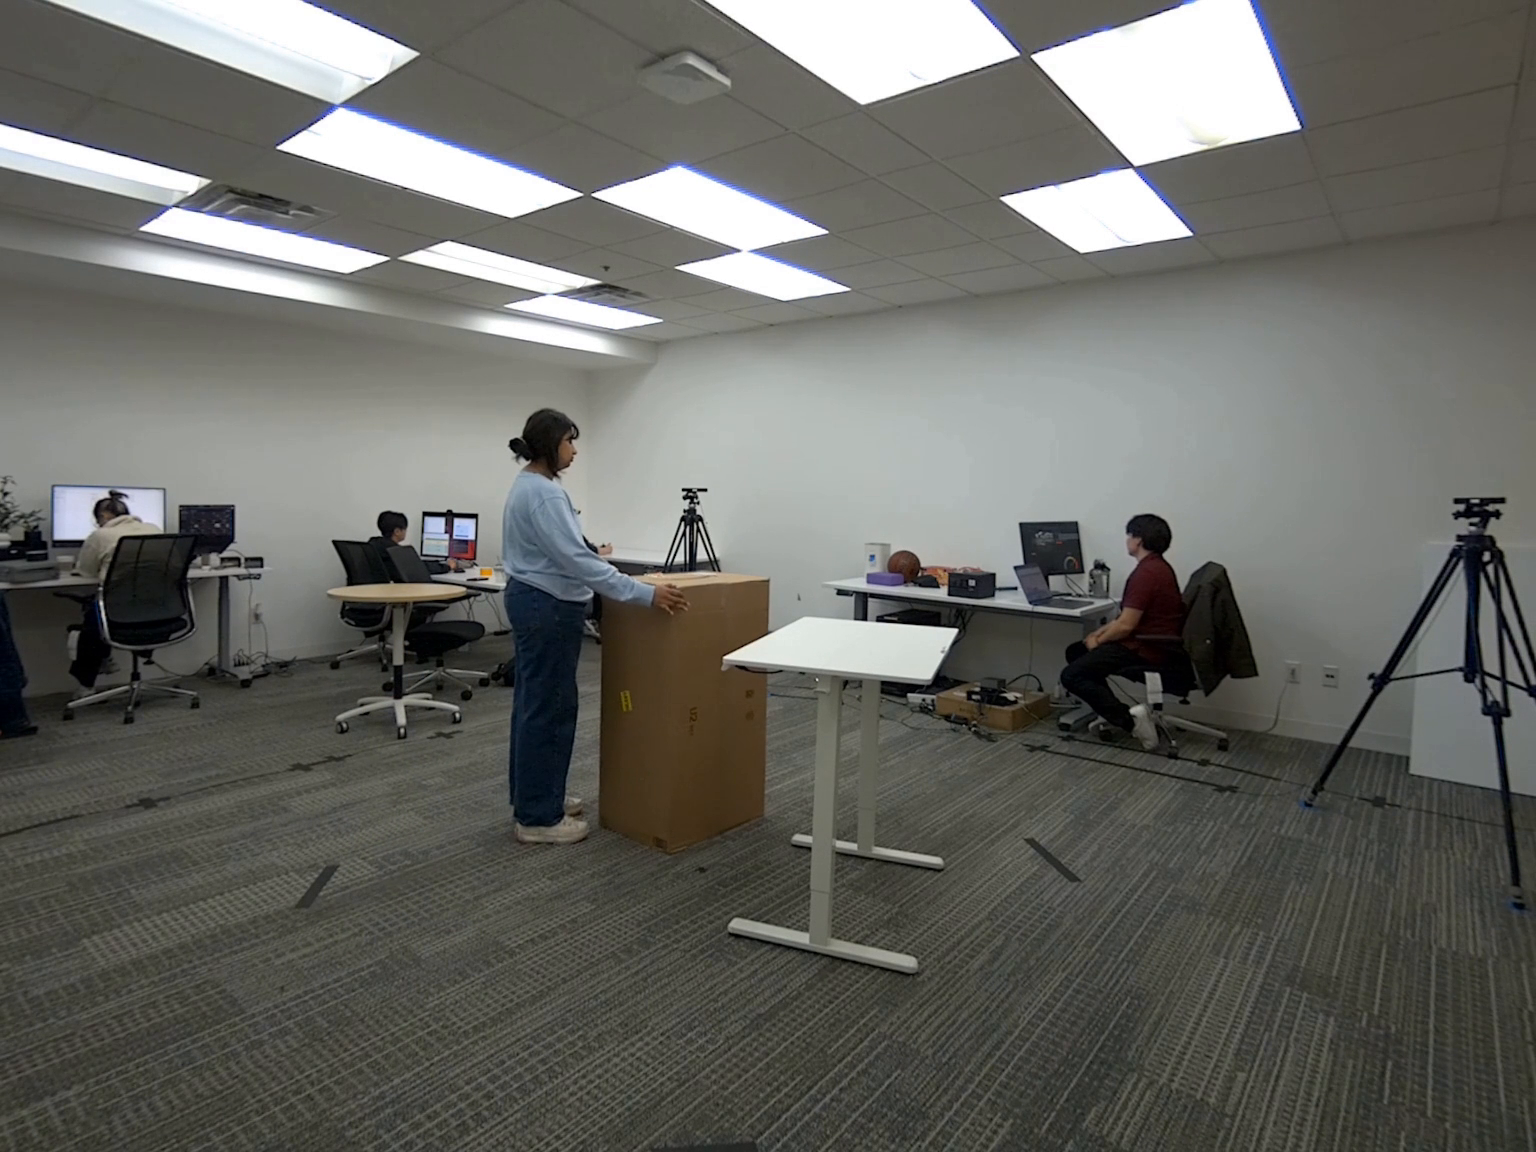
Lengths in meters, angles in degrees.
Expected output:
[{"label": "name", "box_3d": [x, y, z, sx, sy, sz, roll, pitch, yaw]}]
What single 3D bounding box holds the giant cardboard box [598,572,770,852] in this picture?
[{"label": "giant cardboard box", "box_3d": [-0.357, 0.520, 3.556, 0.440, 1.023, 0.560, 4, 4, 40]}]
